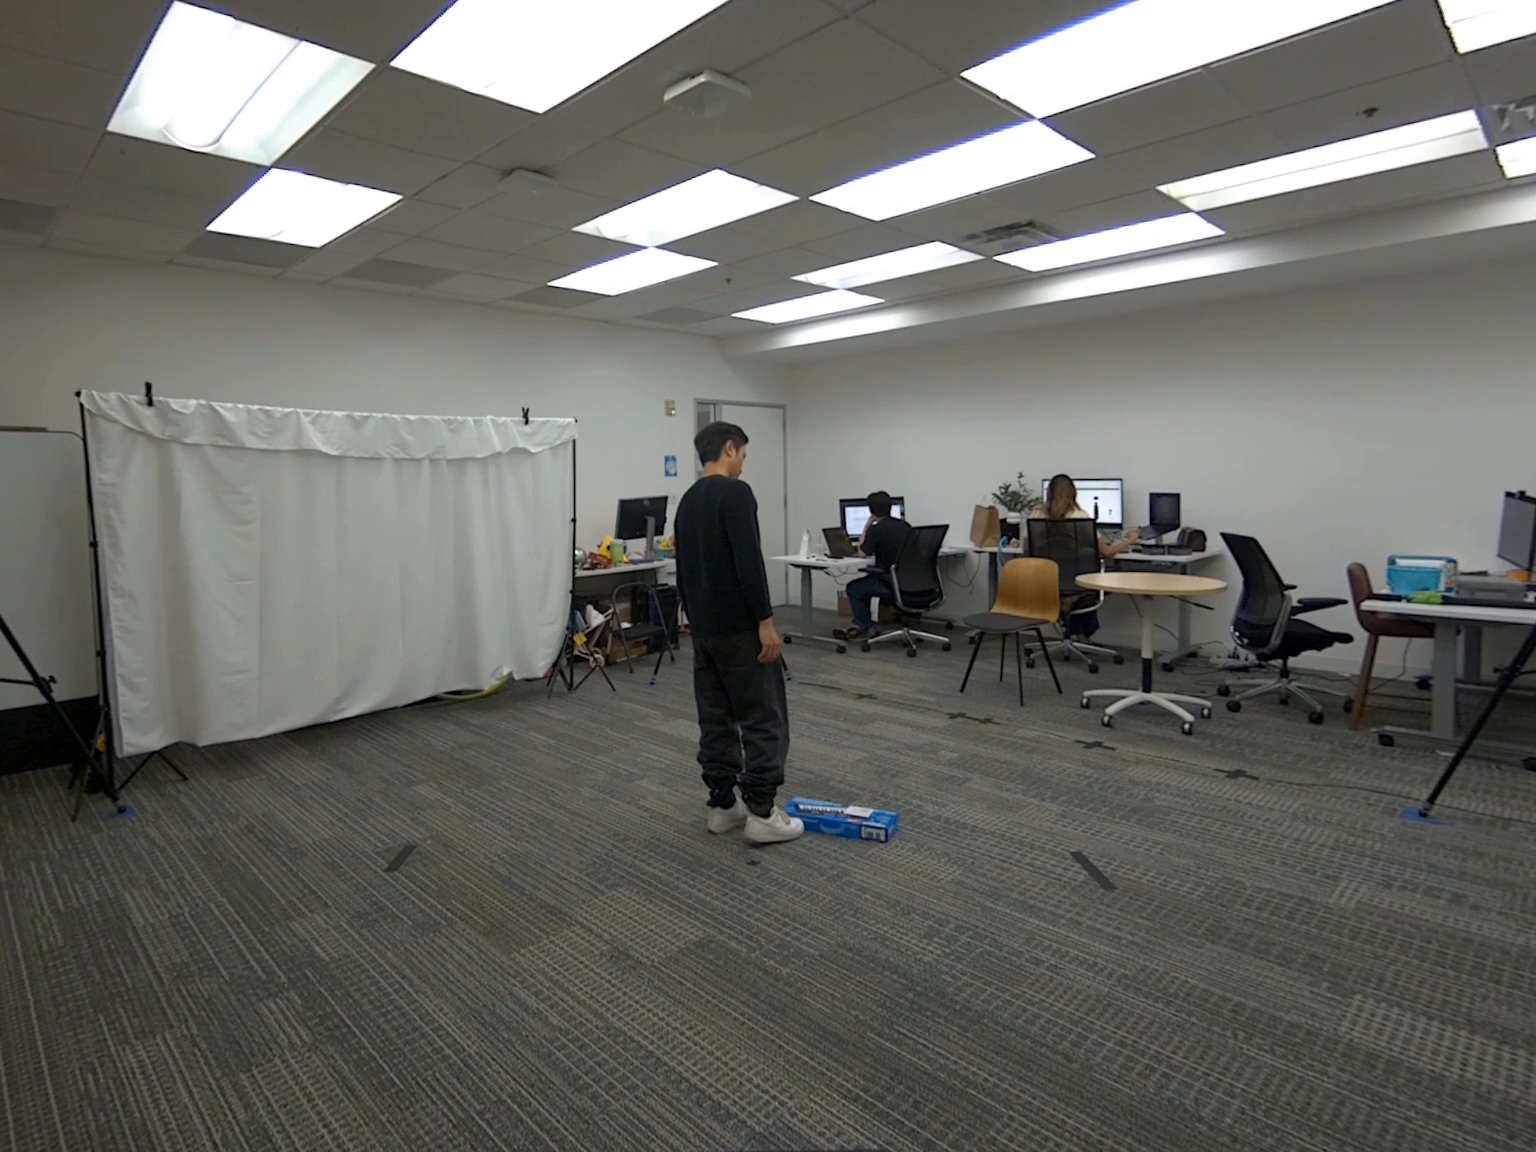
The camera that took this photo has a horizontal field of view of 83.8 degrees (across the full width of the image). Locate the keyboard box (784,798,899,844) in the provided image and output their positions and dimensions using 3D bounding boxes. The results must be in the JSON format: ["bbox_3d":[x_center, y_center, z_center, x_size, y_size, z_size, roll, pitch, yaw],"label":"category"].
[{"bbox_3d":[0.284,0.965,3.410,0.447,0.059,0.173,2,7,25],"label":"keyboard box"}]
